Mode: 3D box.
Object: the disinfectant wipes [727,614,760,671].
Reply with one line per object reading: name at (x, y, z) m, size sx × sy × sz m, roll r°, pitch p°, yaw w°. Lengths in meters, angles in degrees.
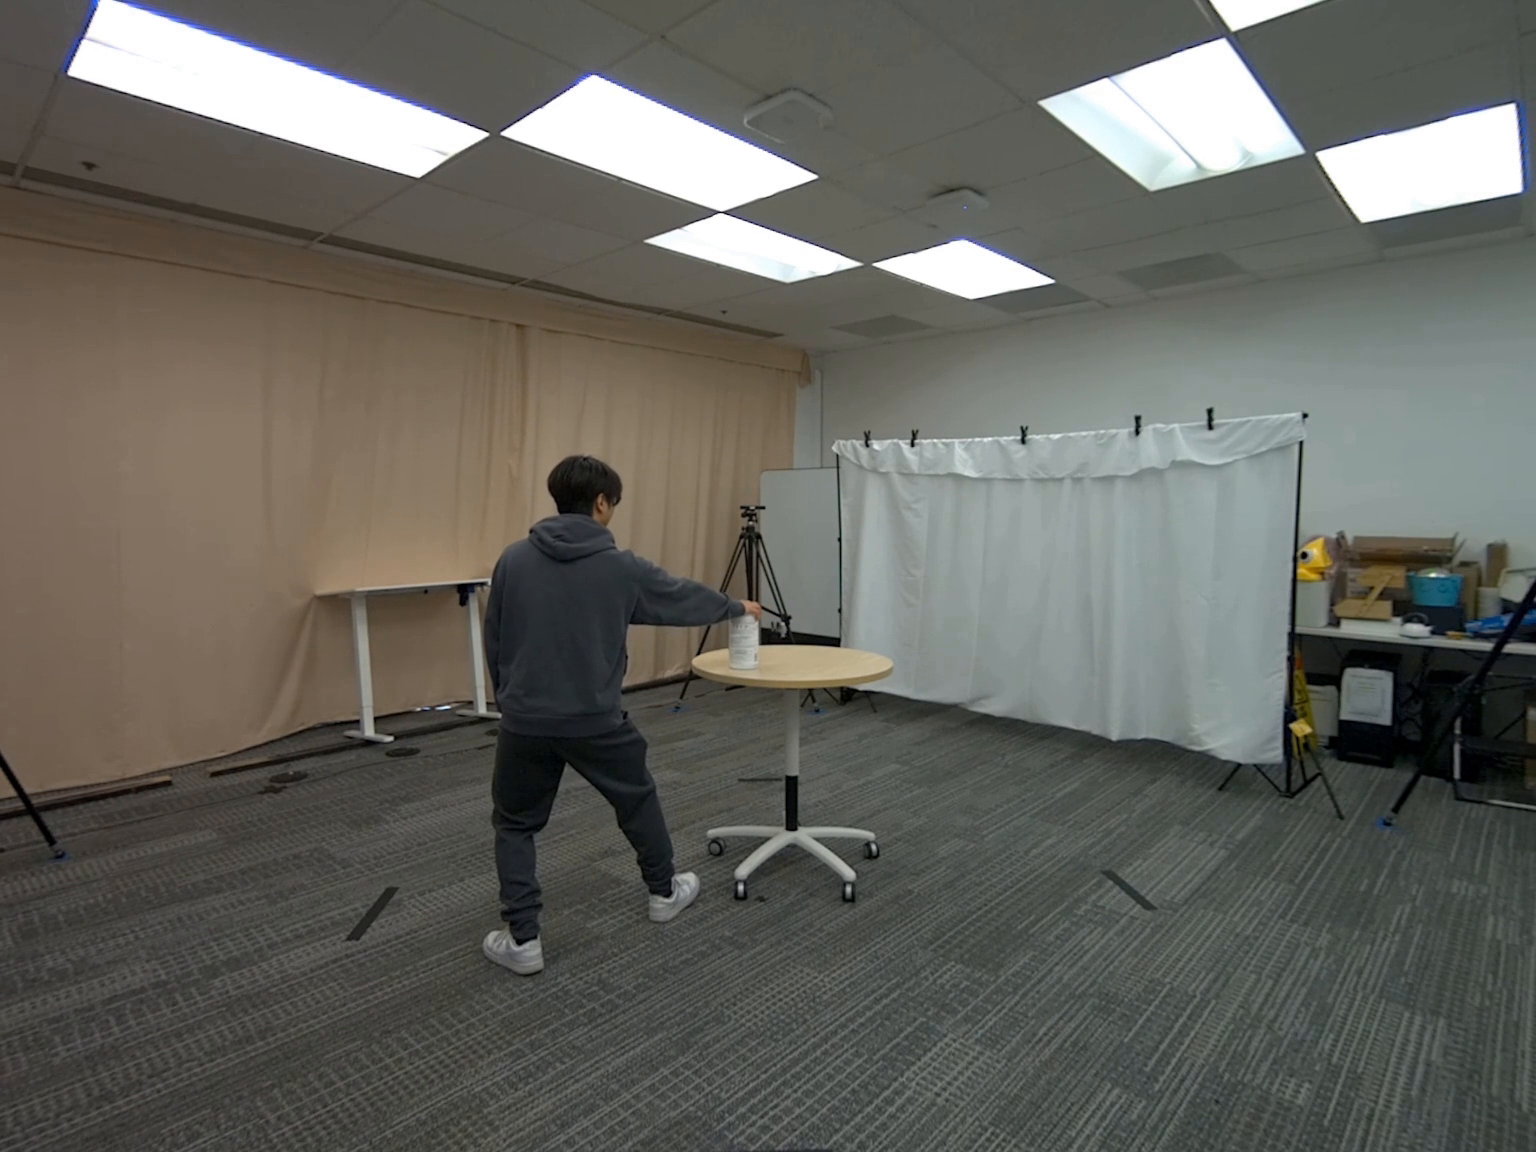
disinfectant wipes at (-0.084, 0.231, 3.091) m, size 0.118 × 0.217 × 0.118 m, roll -1°, pitch 3°, yaw -2°
